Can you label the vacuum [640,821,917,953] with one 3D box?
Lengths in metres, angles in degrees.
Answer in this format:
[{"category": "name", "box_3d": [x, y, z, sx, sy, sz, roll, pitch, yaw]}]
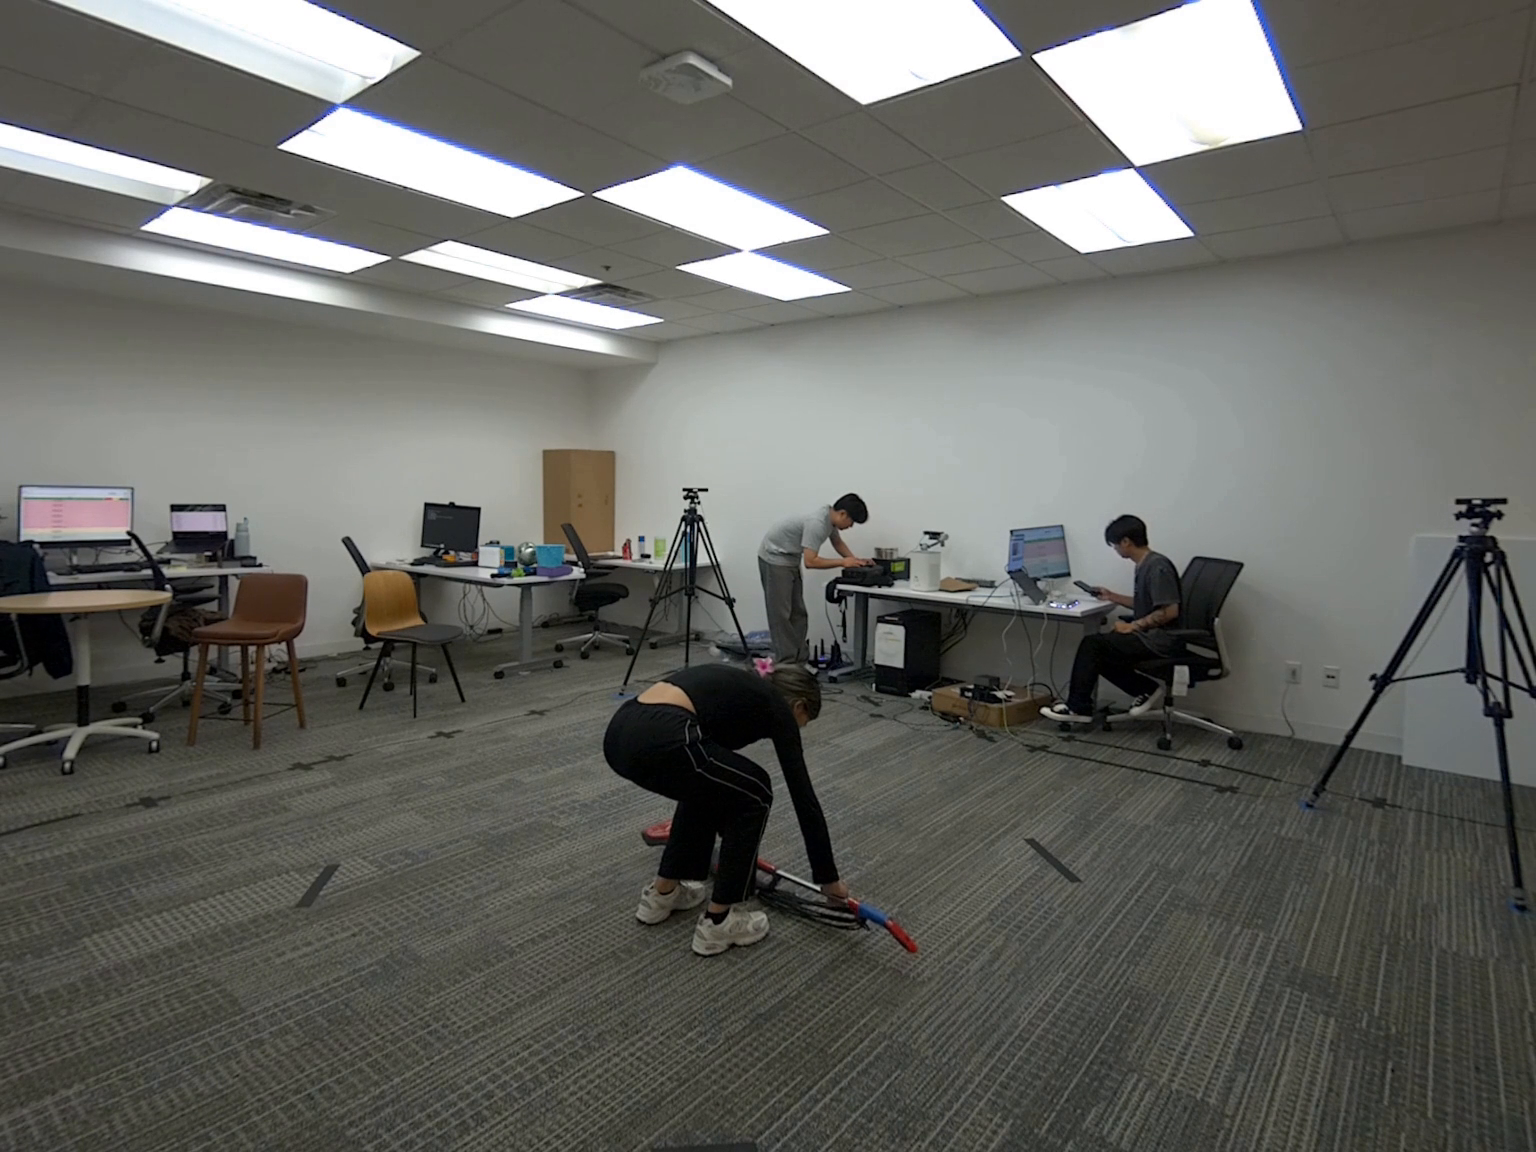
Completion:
[{"category": "vacuum", "box_3d": [0.028, 1.036, 2.859, 1.087, 0.143, 0.245, 8, 11, 43]}]
